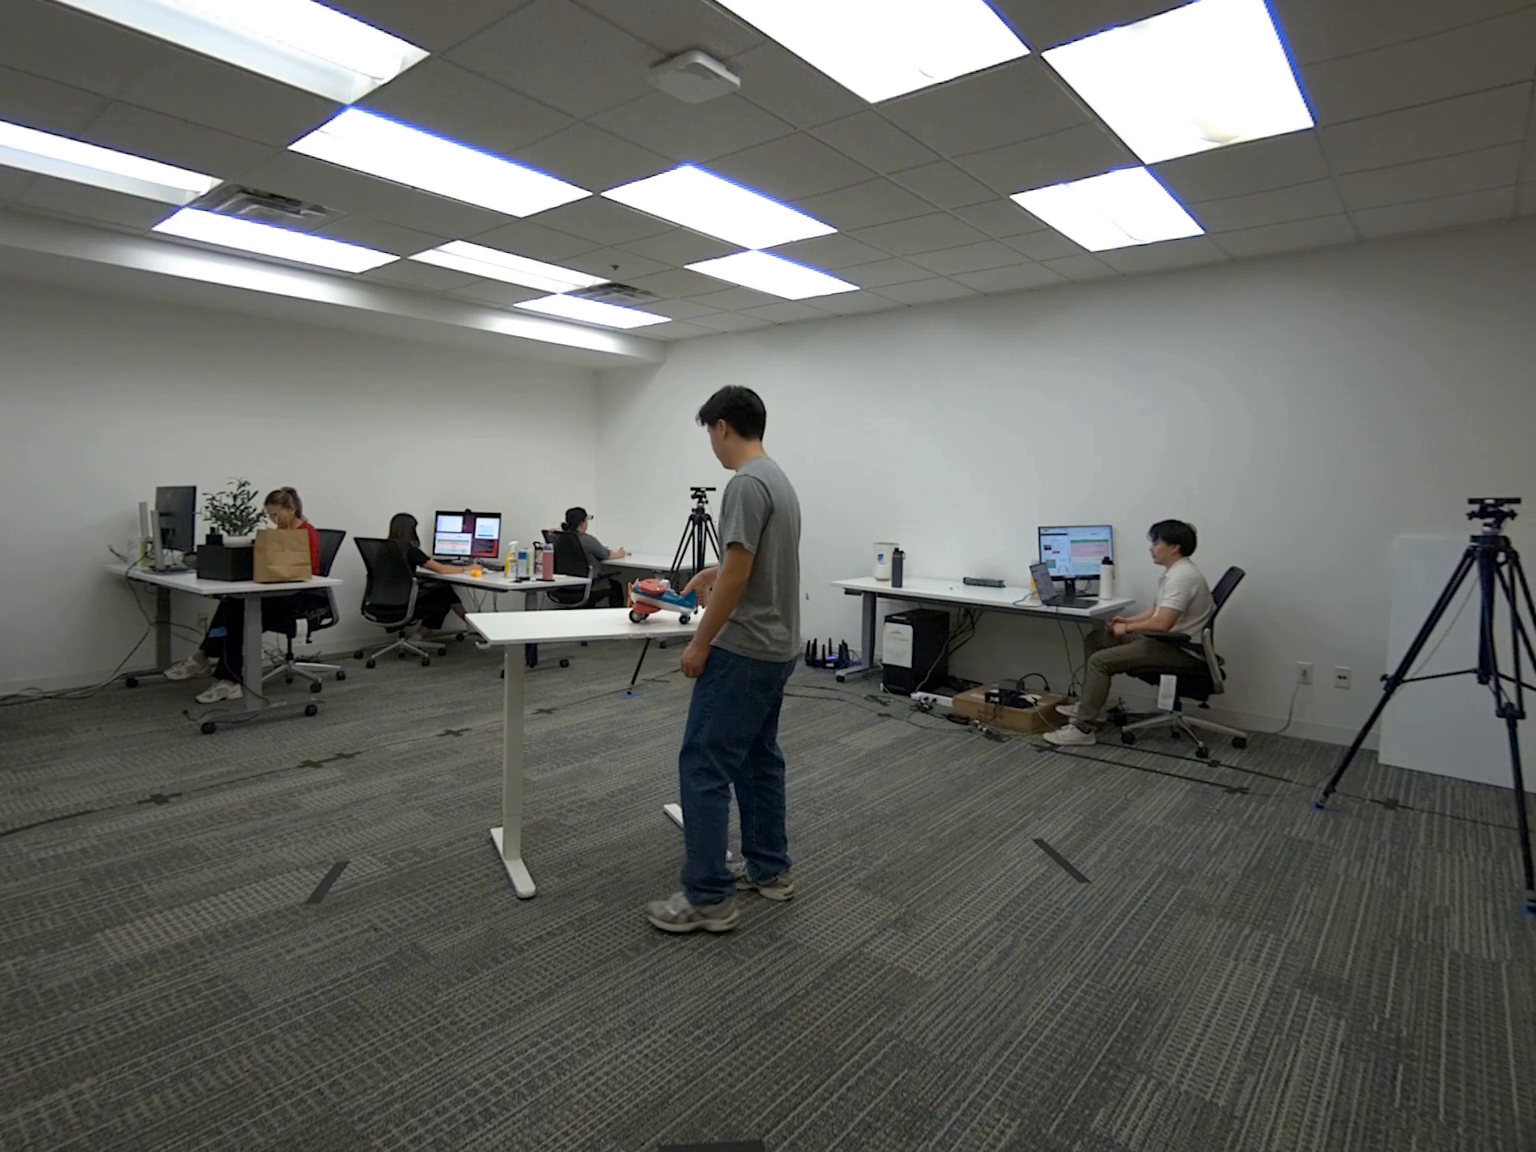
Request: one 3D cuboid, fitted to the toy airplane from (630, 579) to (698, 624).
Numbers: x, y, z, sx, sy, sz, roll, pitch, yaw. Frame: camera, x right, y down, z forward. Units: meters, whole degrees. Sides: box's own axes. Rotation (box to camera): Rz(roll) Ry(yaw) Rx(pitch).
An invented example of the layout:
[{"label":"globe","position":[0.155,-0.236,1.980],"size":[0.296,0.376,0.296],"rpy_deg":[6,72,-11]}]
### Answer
[{"label":"toy airplane","position":[-0.412,0.092,3.217],"size":[0.254,0.156,0.257],"rpy_deg":[-1,6,-21]}]
